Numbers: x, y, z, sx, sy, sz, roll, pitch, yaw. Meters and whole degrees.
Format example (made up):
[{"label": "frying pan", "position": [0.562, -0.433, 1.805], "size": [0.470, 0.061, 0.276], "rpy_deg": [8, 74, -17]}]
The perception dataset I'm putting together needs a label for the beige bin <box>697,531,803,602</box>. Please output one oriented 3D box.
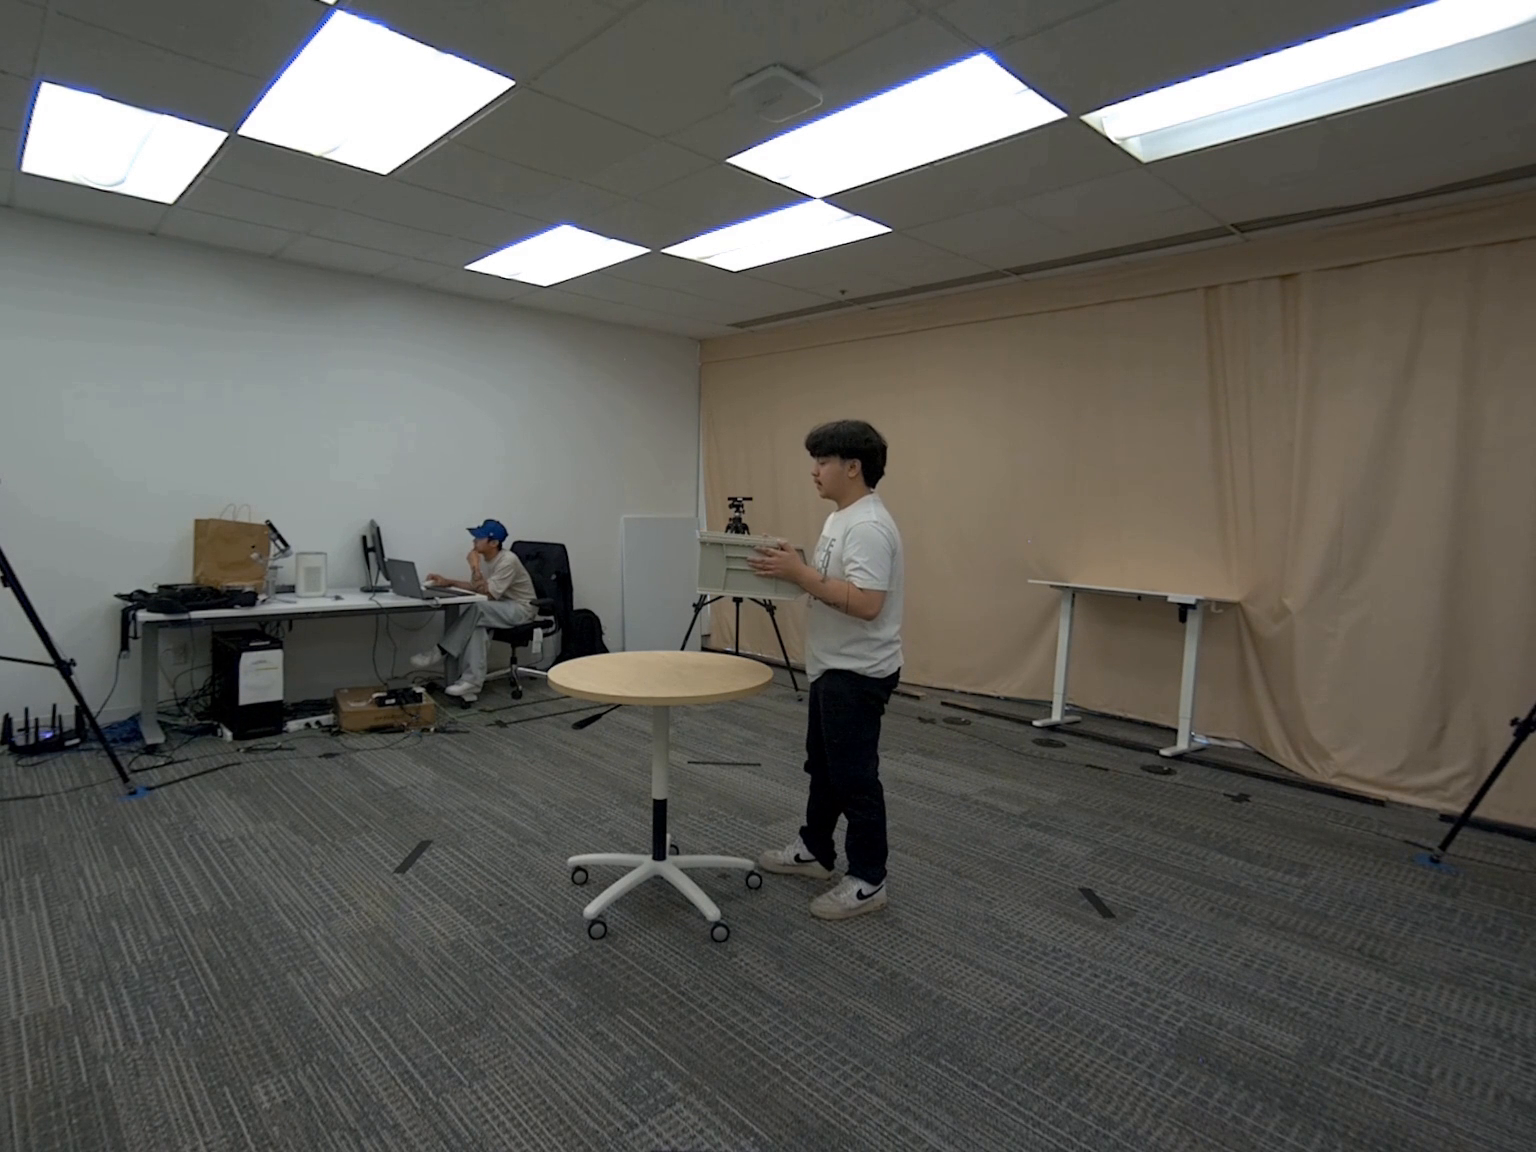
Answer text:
[{"label": "beige bin", "position": [-0.065, -0.029, 2.869], "size": [0.375, 0.188, 0.425], "rpy_deg": [3, 5, -6]}]
